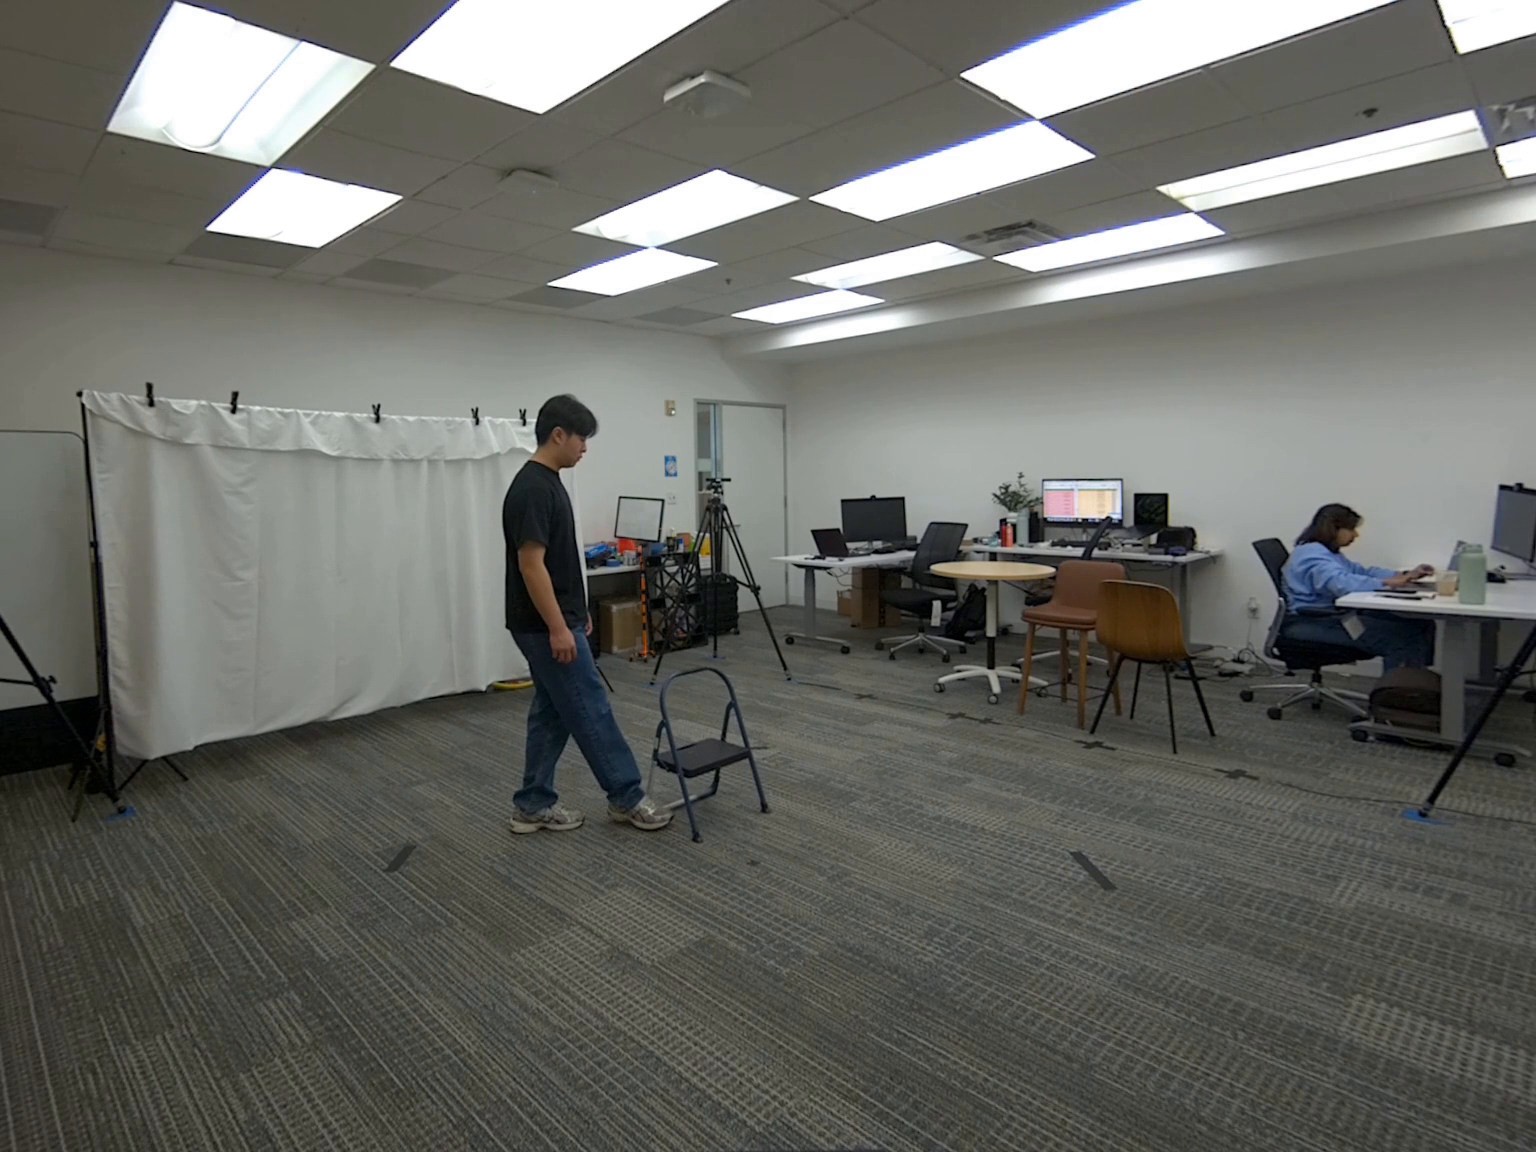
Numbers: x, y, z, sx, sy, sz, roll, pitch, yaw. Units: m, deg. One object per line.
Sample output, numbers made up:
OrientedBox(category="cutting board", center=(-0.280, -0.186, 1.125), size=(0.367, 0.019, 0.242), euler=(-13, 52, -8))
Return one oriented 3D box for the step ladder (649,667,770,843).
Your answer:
OrientedBox(category="step ladder", center=(-0.264, 0.687, 3.532), size=(0.360, 0.604, 0.419), euler=(2, 5, 43))
